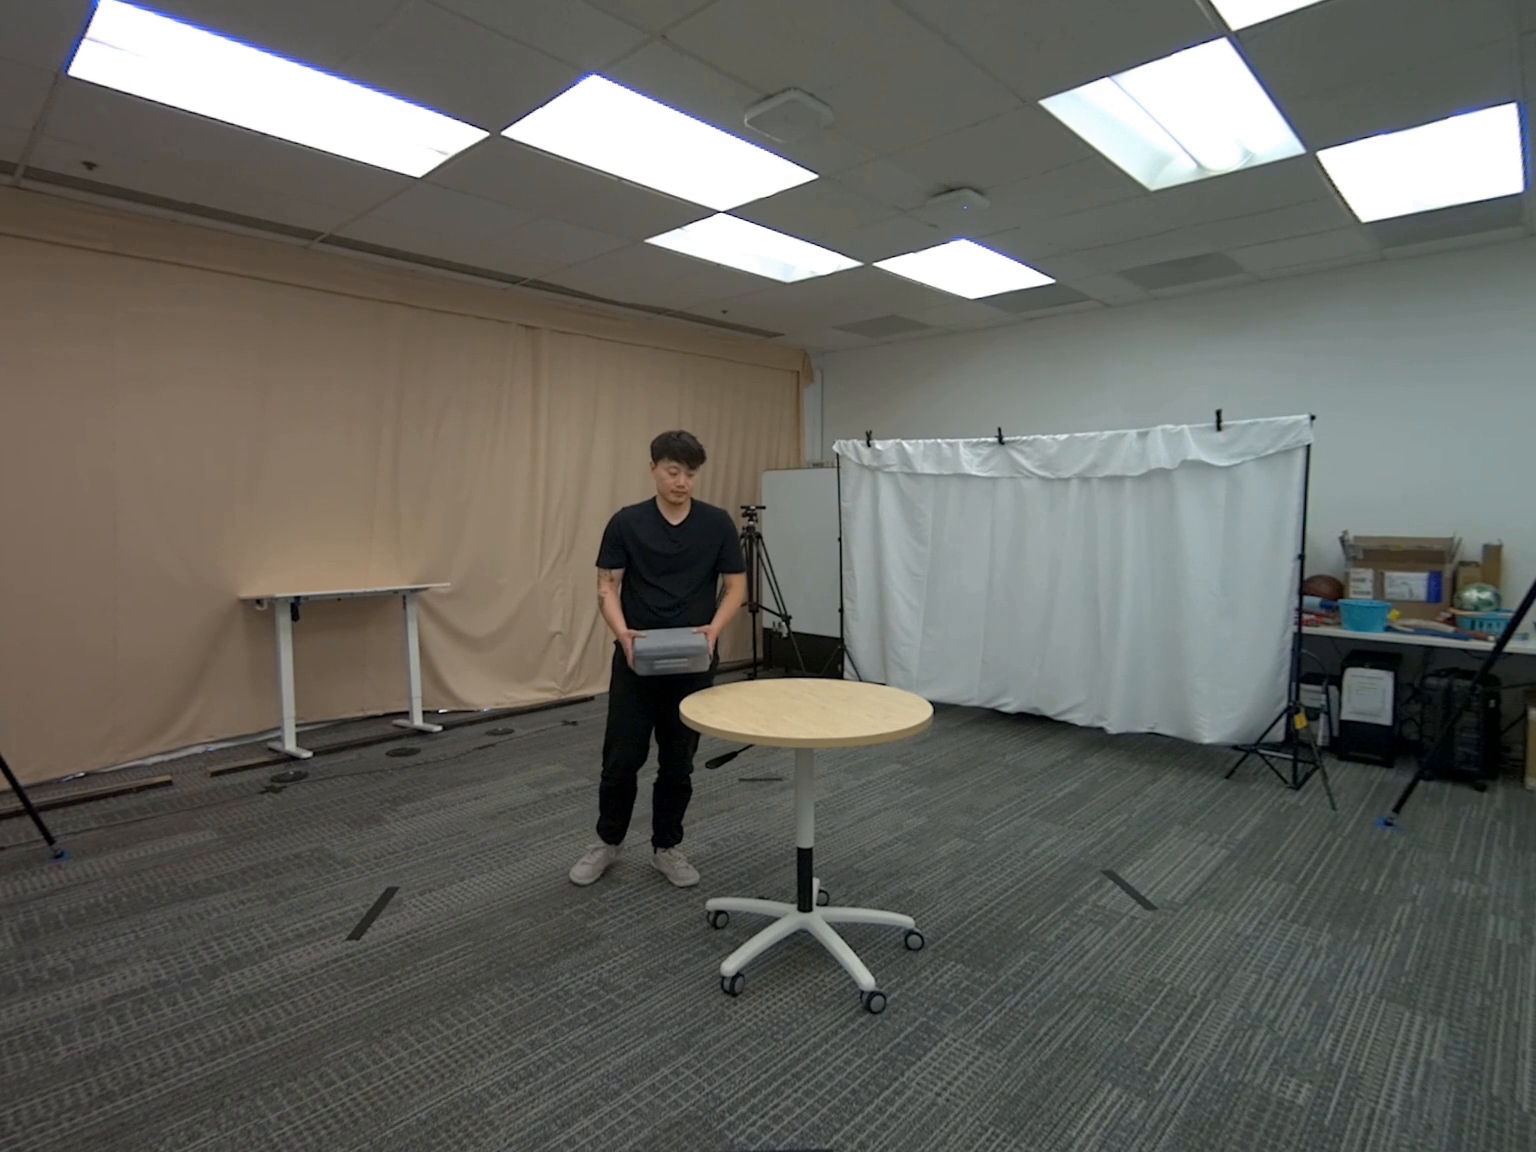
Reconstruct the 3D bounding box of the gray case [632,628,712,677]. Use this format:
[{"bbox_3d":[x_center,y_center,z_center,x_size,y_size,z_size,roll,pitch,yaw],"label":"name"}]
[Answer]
[{"bbox_3d":[-0.327,0.257,2.878,0.256,0.104,0.263,-1,9,-5],"label":"gray case"}]
